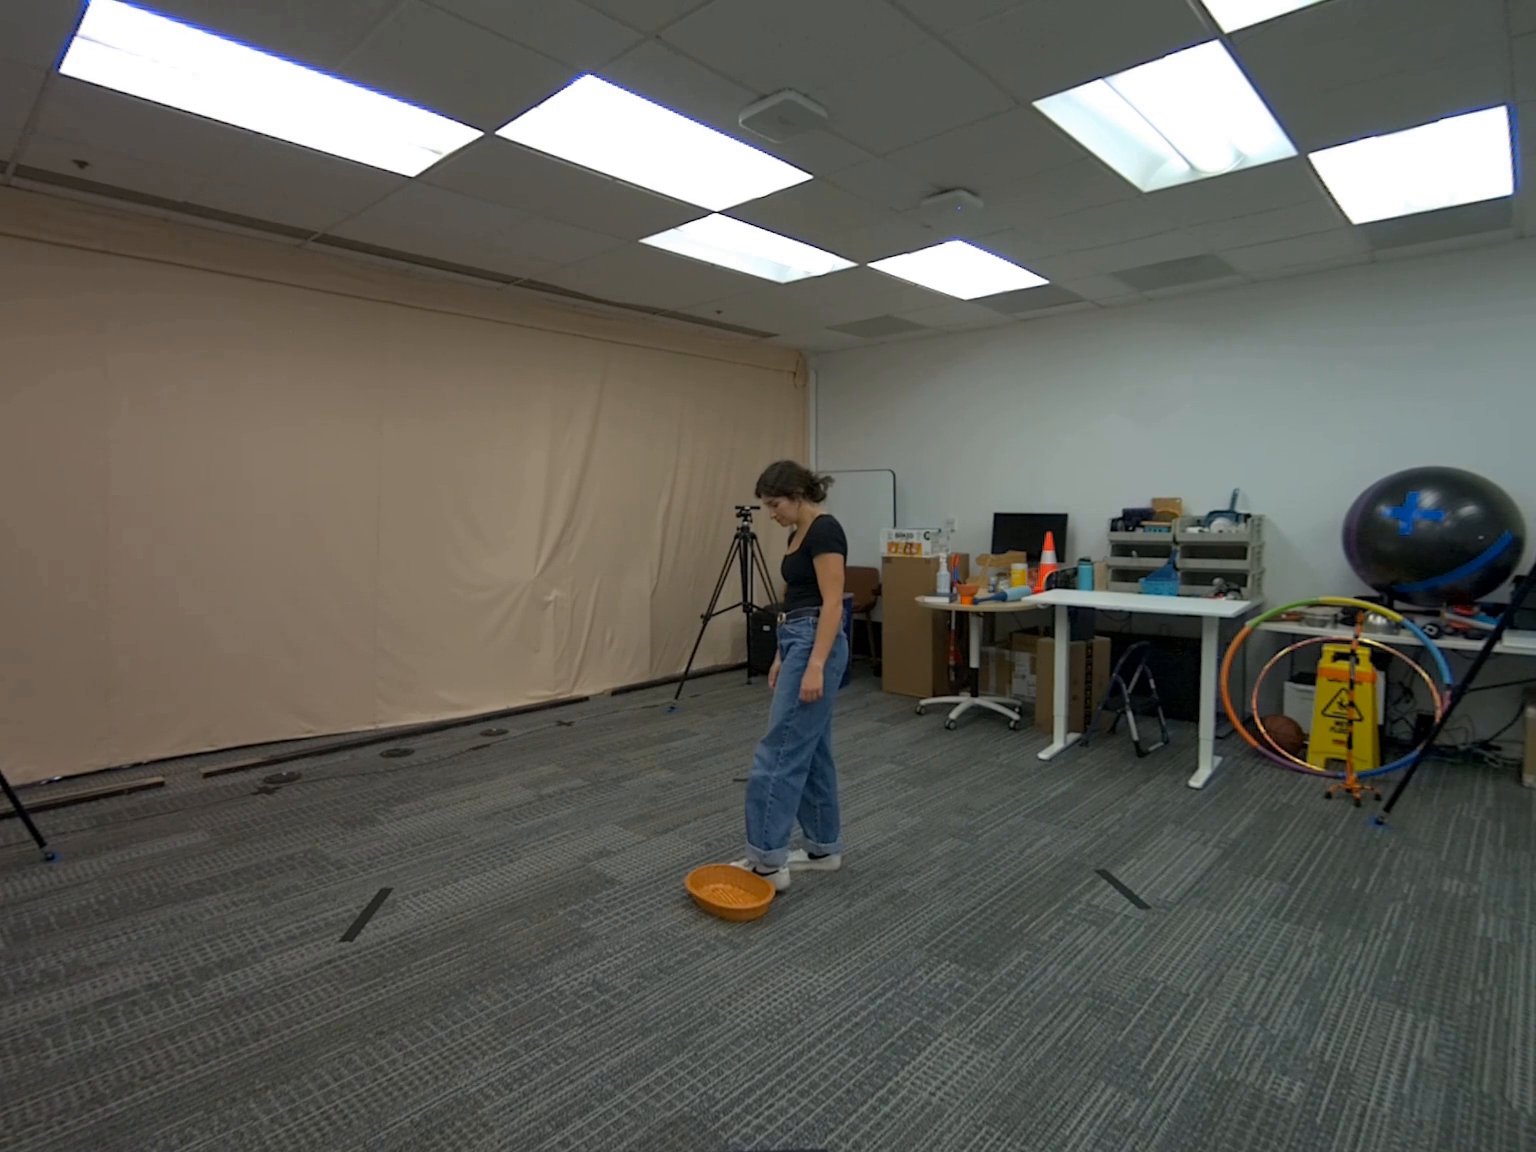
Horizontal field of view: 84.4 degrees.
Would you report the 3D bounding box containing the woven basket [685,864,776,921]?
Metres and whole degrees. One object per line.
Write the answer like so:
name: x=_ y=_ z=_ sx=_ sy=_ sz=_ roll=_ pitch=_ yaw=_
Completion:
woven basket: x=-0.138 y=1.107 z=2.940 sx=0.245 sy=0.073 sz=0.362 roll=-9 pitch=10 yaw=-41
